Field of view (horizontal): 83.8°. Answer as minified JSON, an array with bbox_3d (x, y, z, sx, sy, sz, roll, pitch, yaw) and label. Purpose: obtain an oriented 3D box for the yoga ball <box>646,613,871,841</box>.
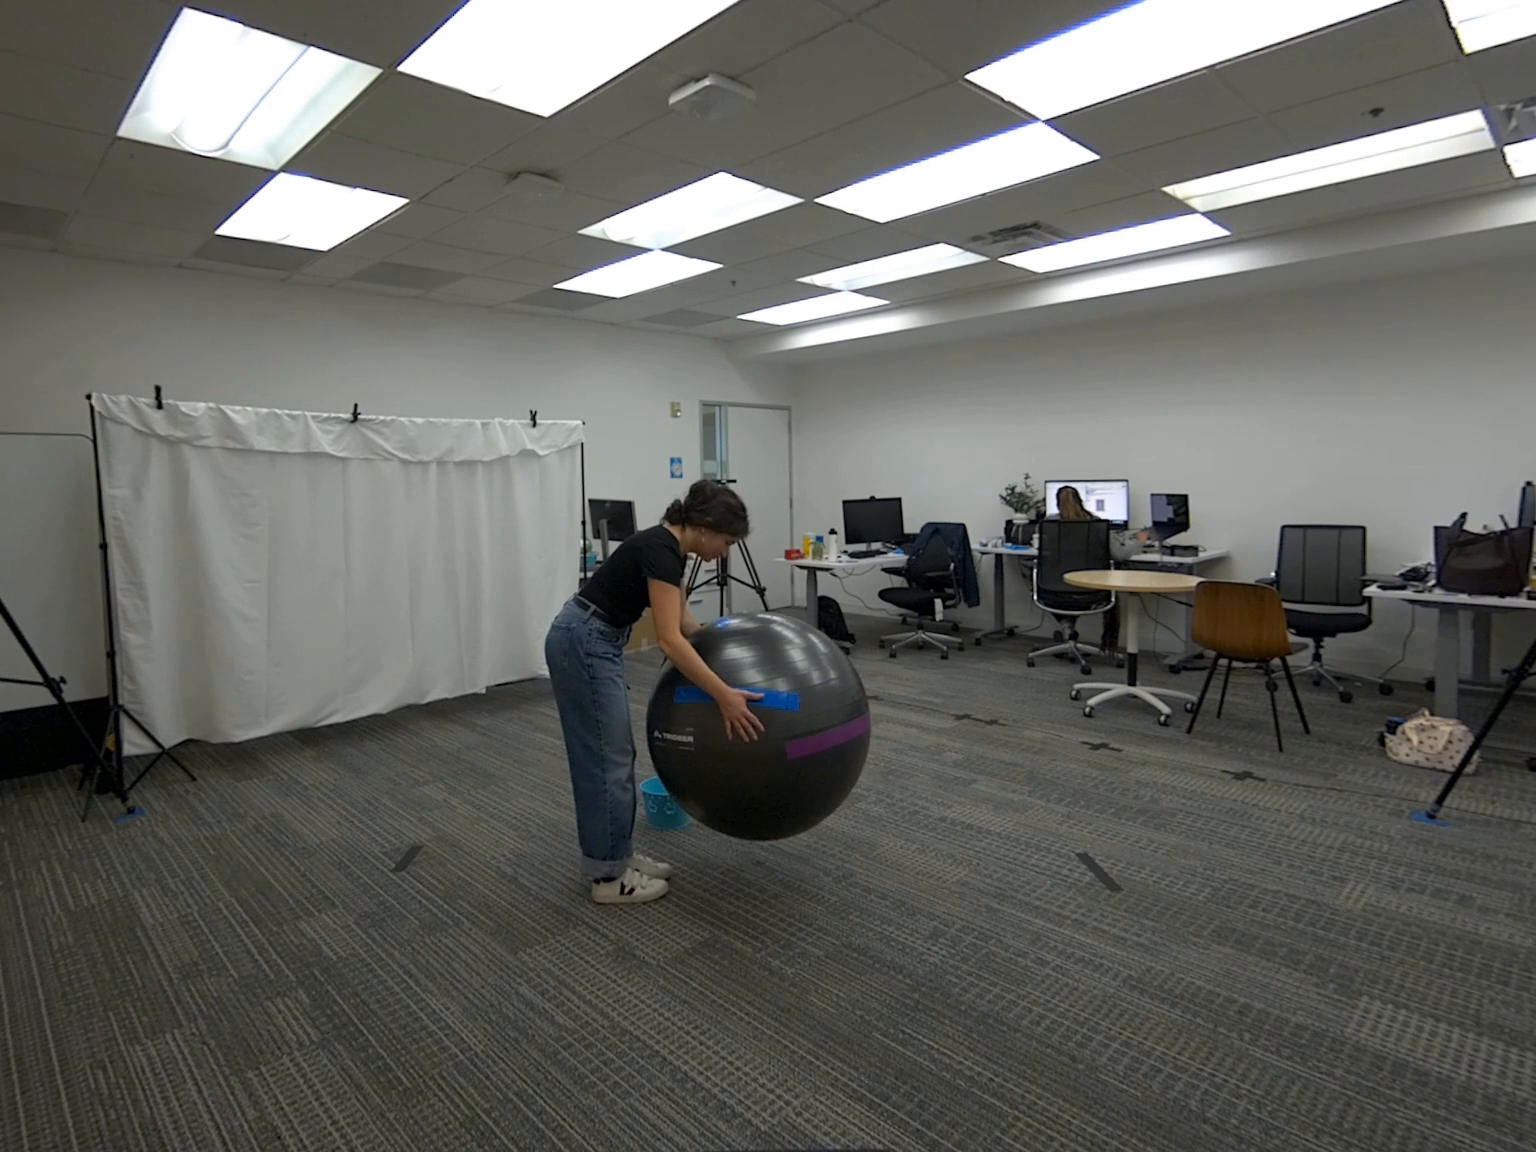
[{"bbox_3d":[-0.028,0.523,2.911,0.757,0.755,0.762,-1,5,-2],"label":"yoga ball"}]
